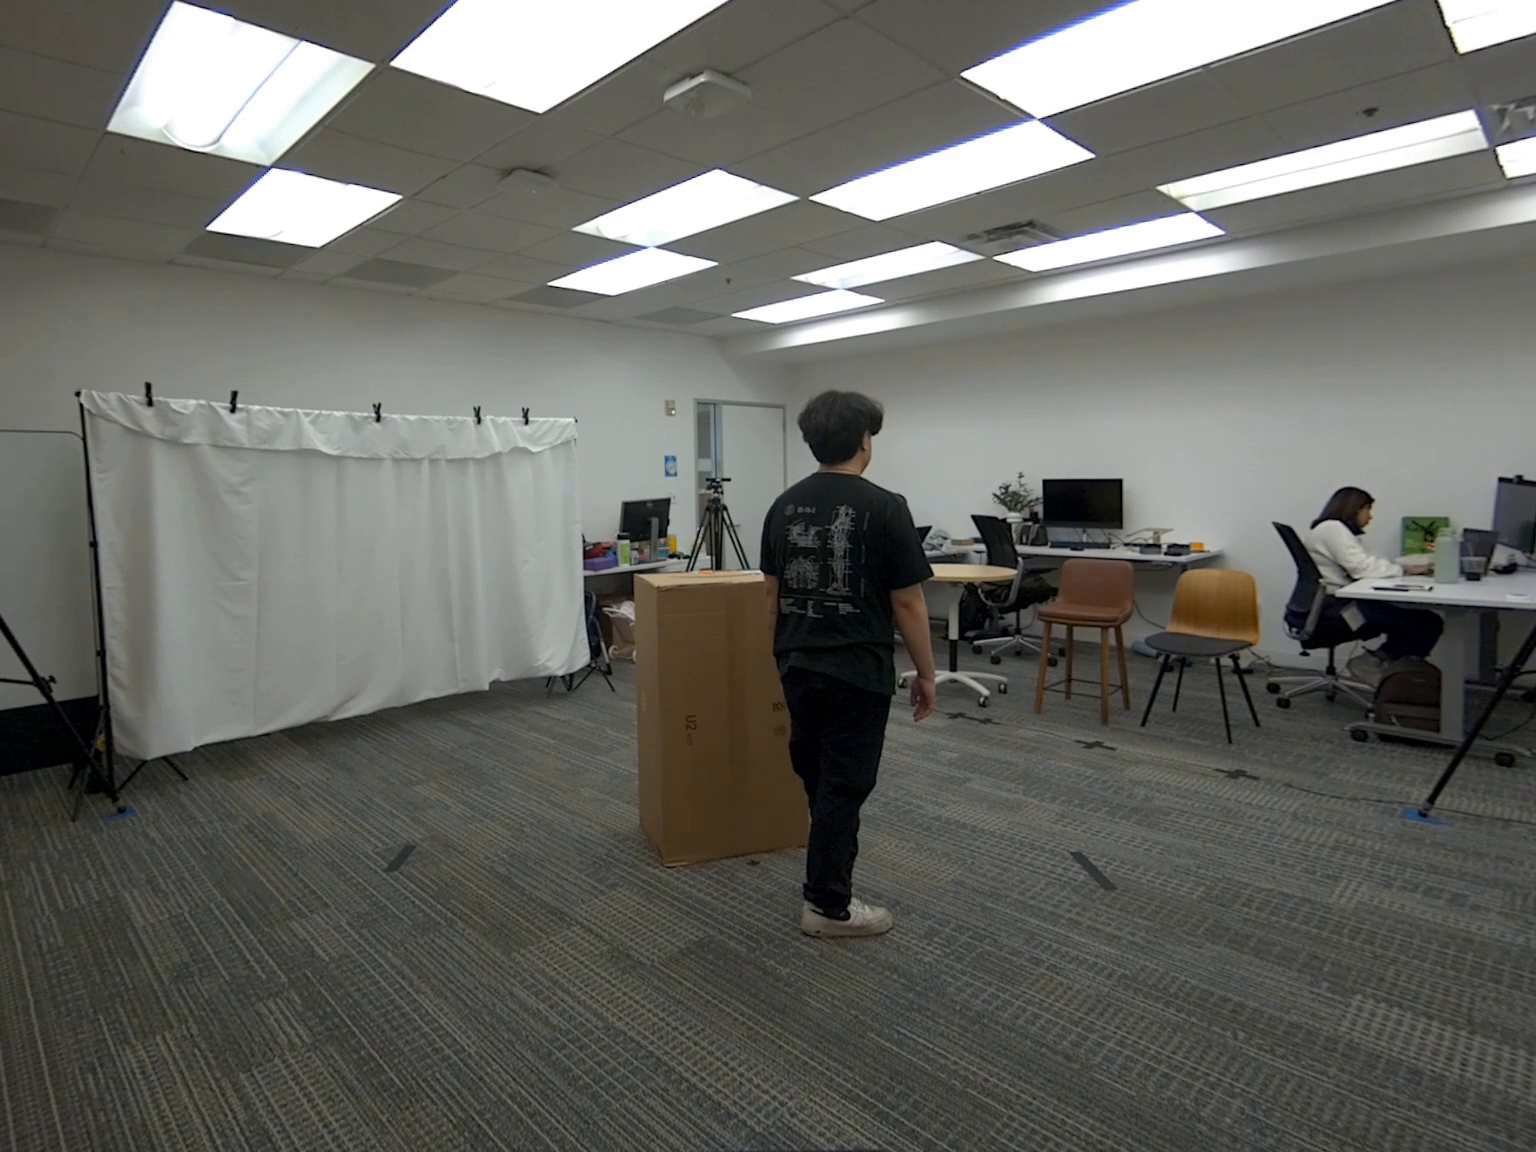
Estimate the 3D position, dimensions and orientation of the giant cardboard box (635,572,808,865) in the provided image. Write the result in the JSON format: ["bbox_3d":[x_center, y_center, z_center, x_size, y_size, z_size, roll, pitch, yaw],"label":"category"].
[{"bbox_3d":[-0.193,0.505,3.332,0.575,1.024,0.455,-2,4,-18],"label":"giant cardboard box"}]
